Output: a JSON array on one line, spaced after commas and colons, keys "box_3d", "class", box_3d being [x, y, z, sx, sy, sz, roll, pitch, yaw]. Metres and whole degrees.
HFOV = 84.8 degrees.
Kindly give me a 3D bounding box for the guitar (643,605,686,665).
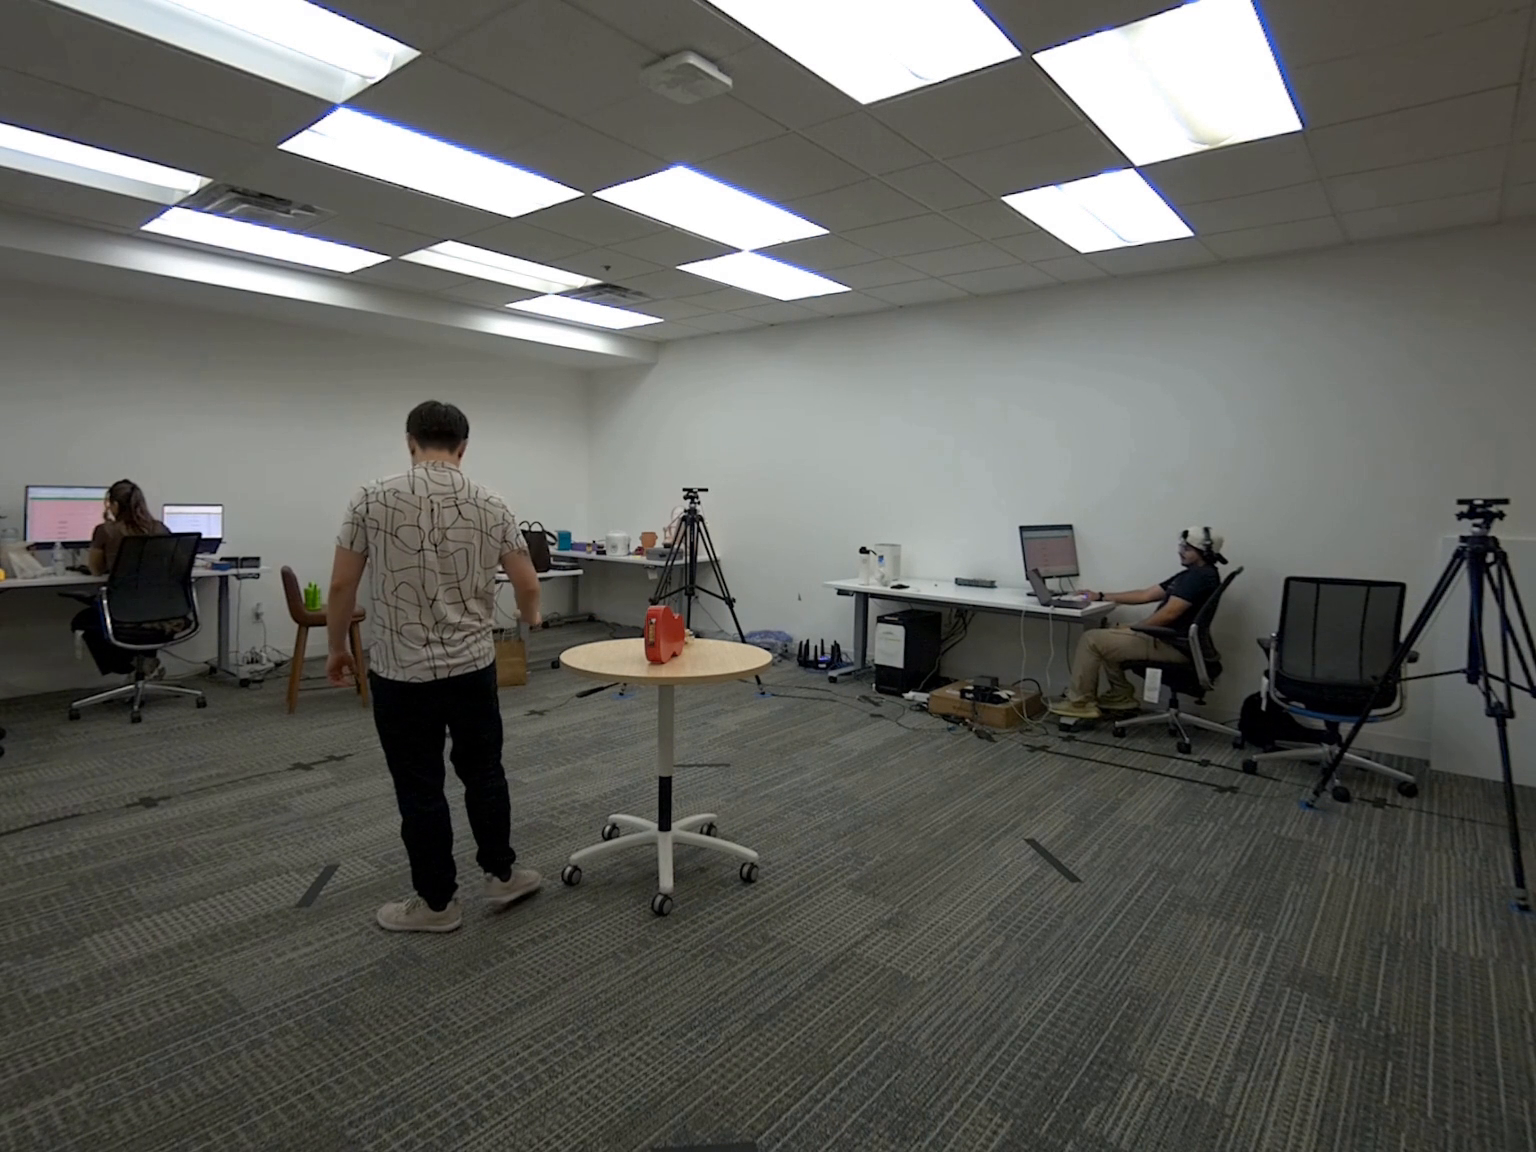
[{"box_3d": [-0.355, 0.187, 3.125, 0.071, 0.192, 0.492, 0, 3, 10], "class": "guitar"}]
